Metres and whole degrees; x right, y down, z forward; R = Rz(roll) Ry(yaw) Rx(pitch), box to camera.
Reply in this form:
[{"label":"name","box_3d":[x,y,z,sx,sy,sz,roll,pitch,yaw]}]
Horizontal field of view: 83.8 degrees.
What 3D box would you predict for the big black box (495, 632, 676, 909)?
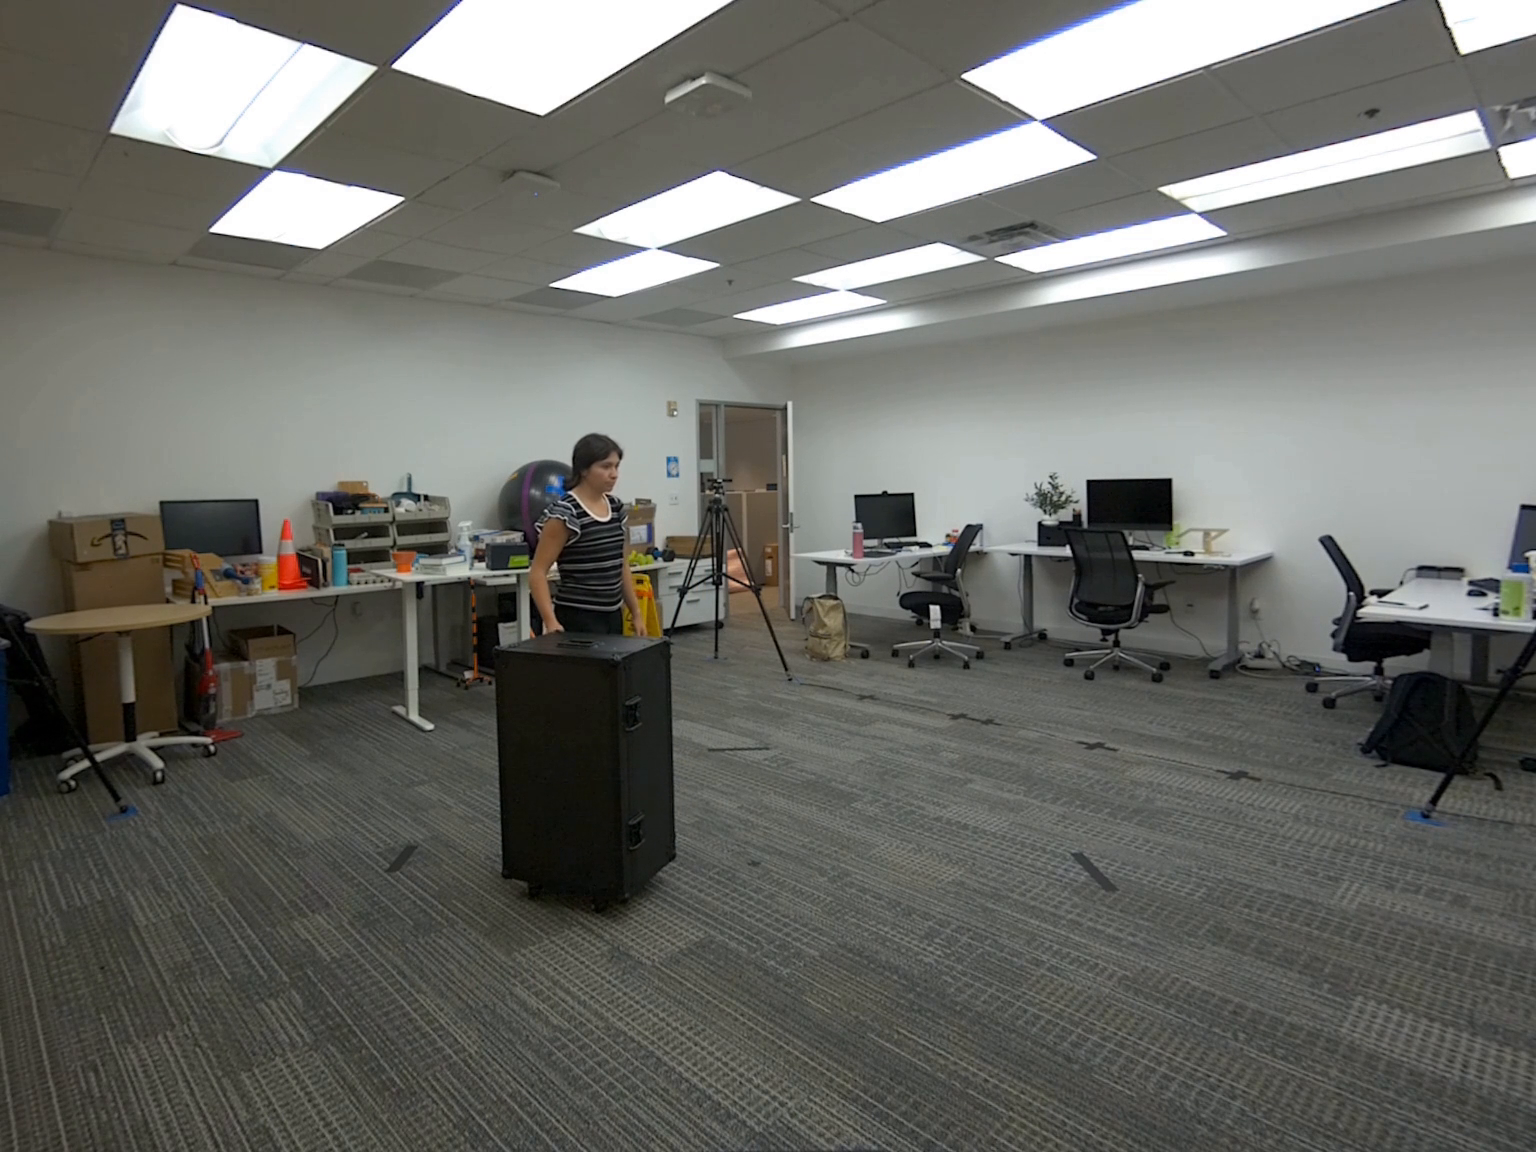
[{"label":"big black box","box_3d":[-0.613,0.649,2.931,0.533,0.859,0.389,1,4,24]}]
